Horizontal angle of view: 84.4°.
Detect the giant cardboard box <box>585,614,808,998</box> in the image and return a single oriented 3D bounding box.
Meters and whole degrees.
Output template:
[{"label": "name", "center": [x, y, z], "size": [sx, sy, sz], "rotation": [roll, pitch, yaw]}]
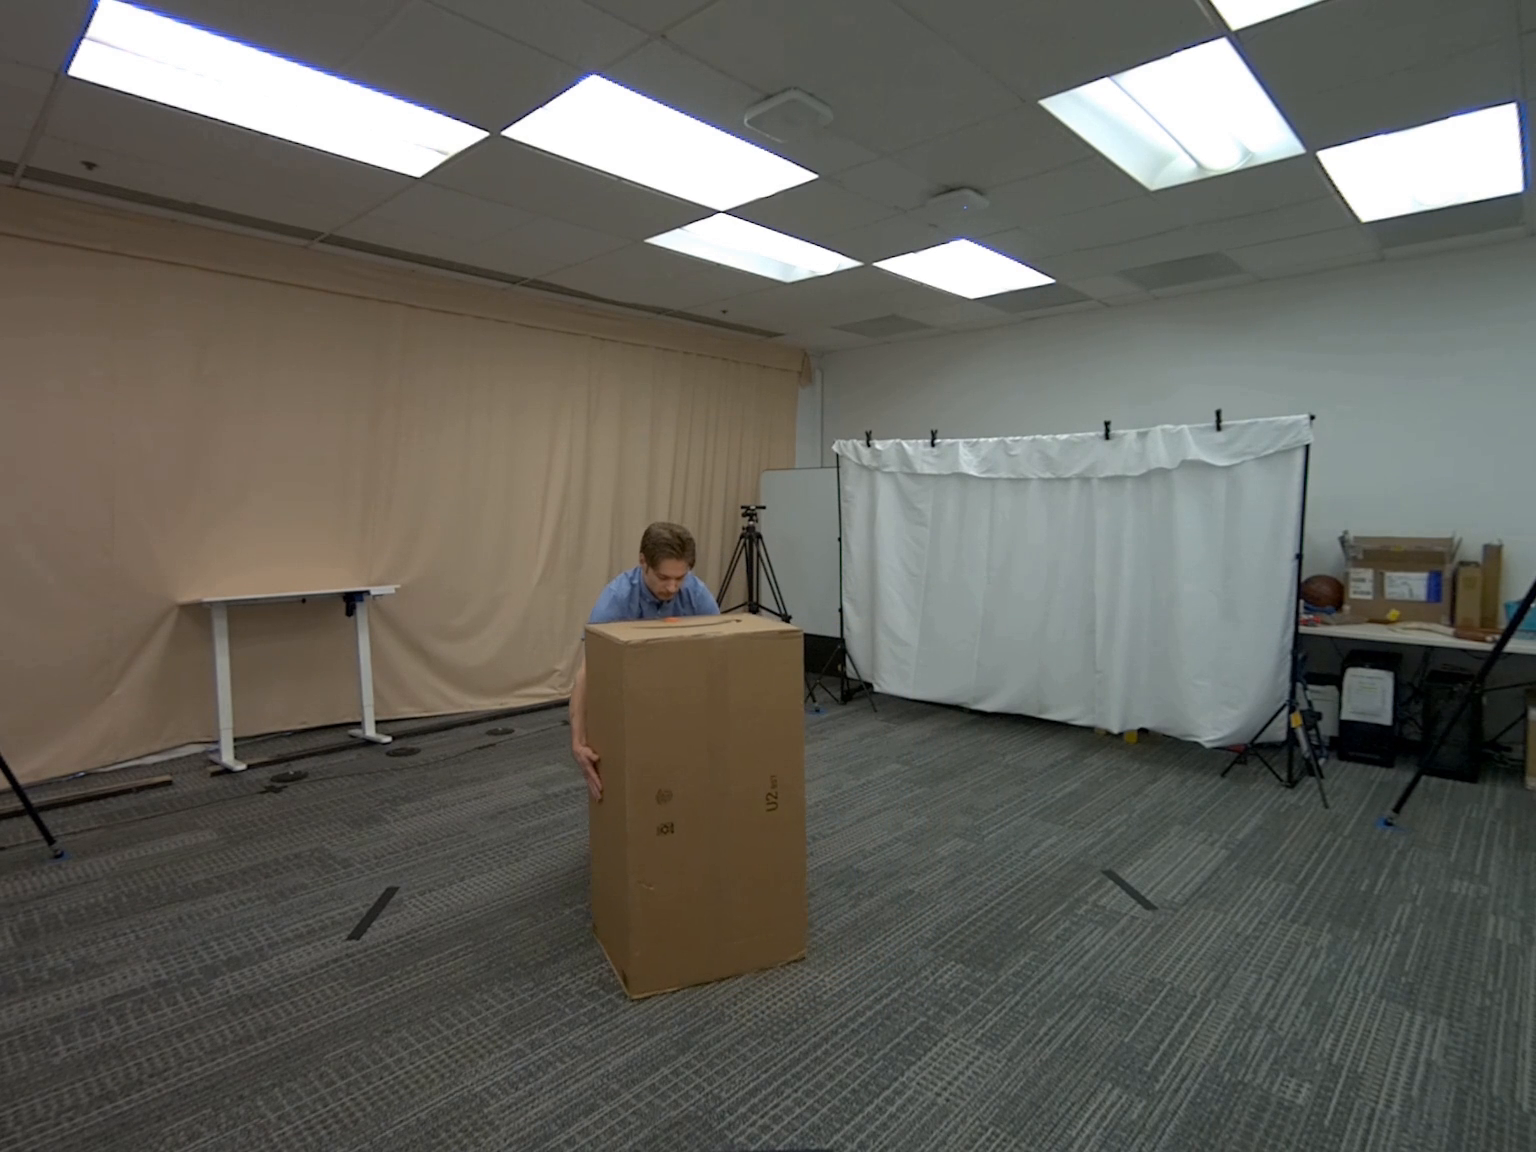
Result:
[{"label": "giant cardboard box", "center": [-0.227, 0.665, 2.644], "size": [0.564, 1.024, 0.437], "rotation": [-2, 3, -24]}]
